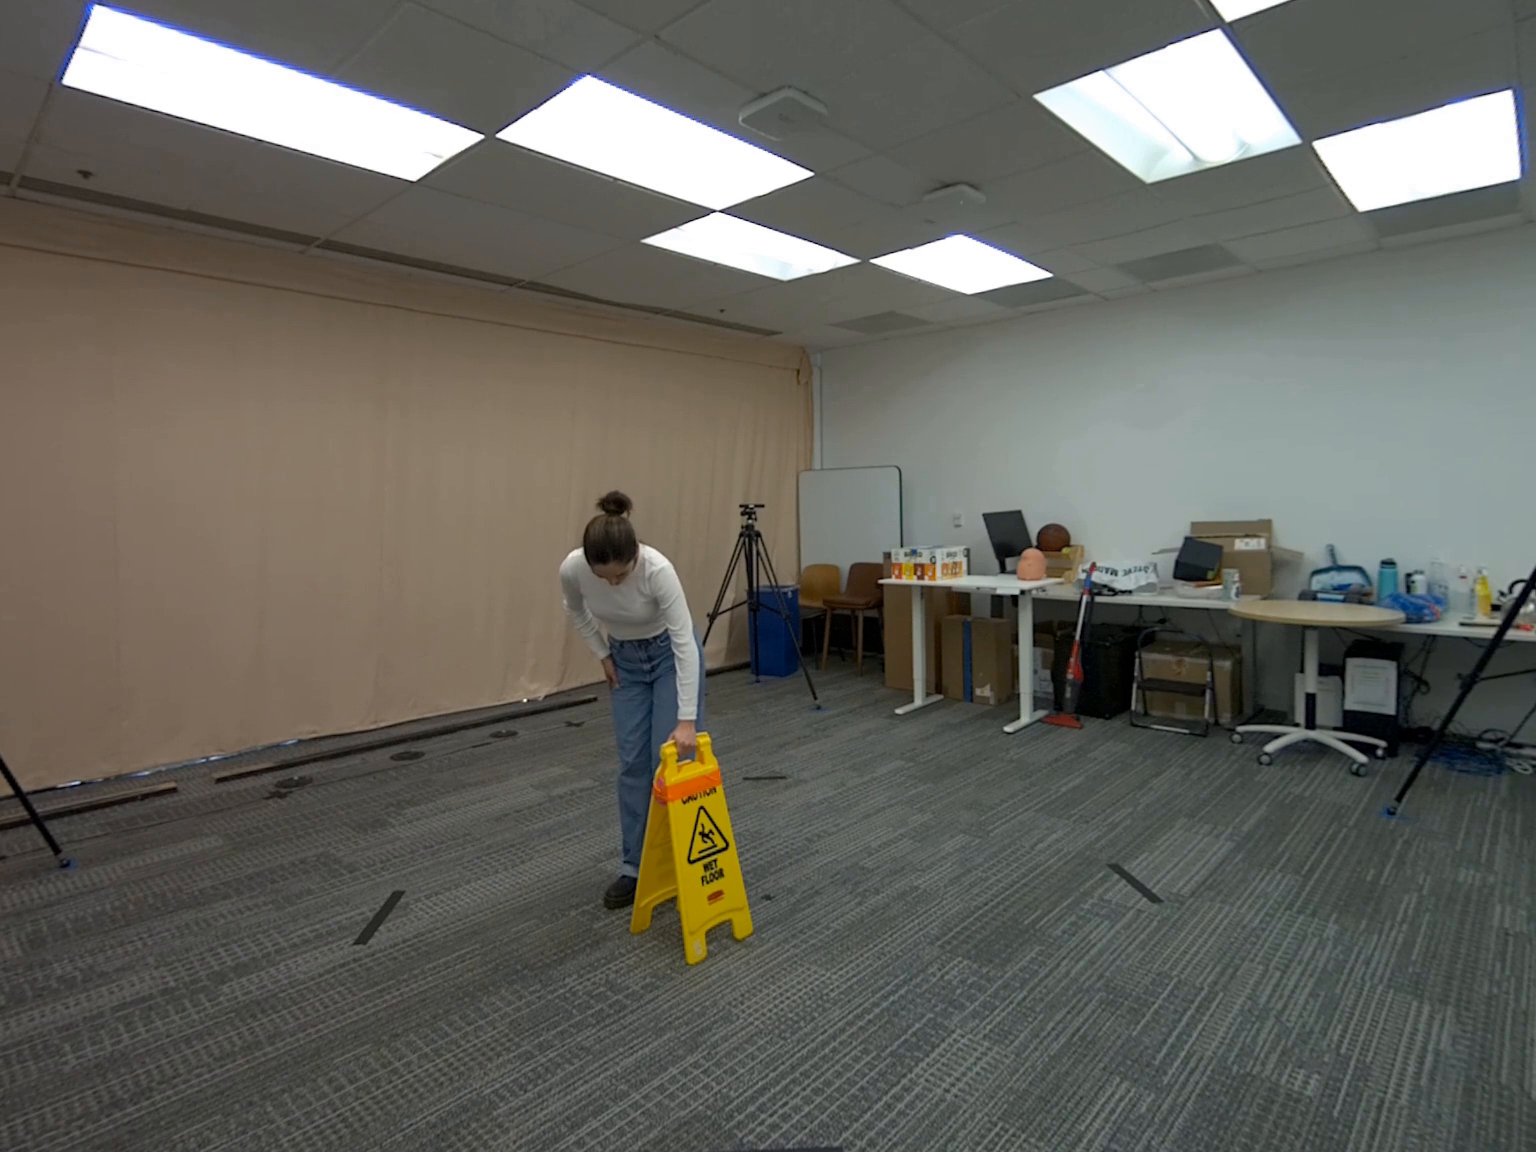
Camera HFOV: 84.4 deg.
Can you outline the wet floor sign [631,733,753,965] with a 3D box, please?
[{"bbox_3d":[-0.257,0.844,2.730,0.299,0.645,0.273,1,4,44],"label":"wet floor sign"}]
